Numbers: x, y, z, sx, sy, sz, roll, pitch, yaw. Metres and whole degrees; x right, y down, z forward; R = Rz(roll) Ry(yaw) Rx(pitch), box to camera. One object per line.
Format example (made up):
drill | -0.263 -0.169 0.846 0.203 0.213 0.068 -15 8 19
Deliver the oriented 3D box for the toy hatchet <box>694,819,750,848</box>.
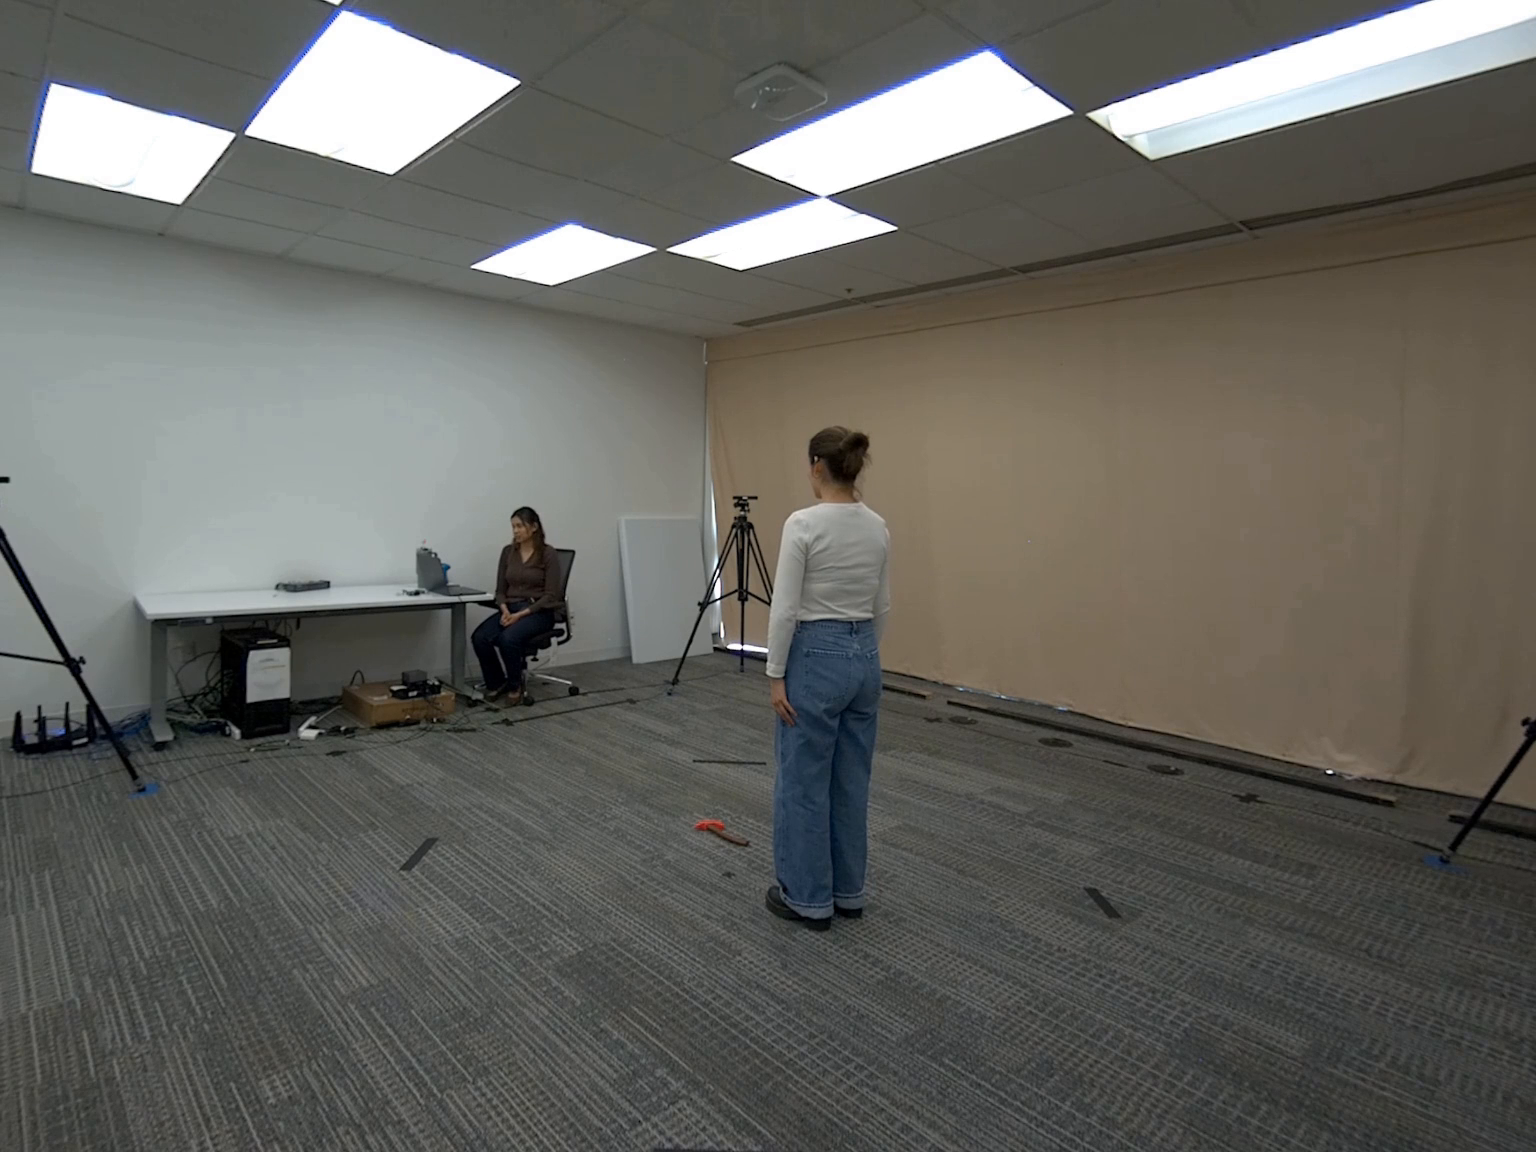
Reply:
toy hatchet | -0.175 1.057 3.480 0.277 0.029 0.128 7 3 36
